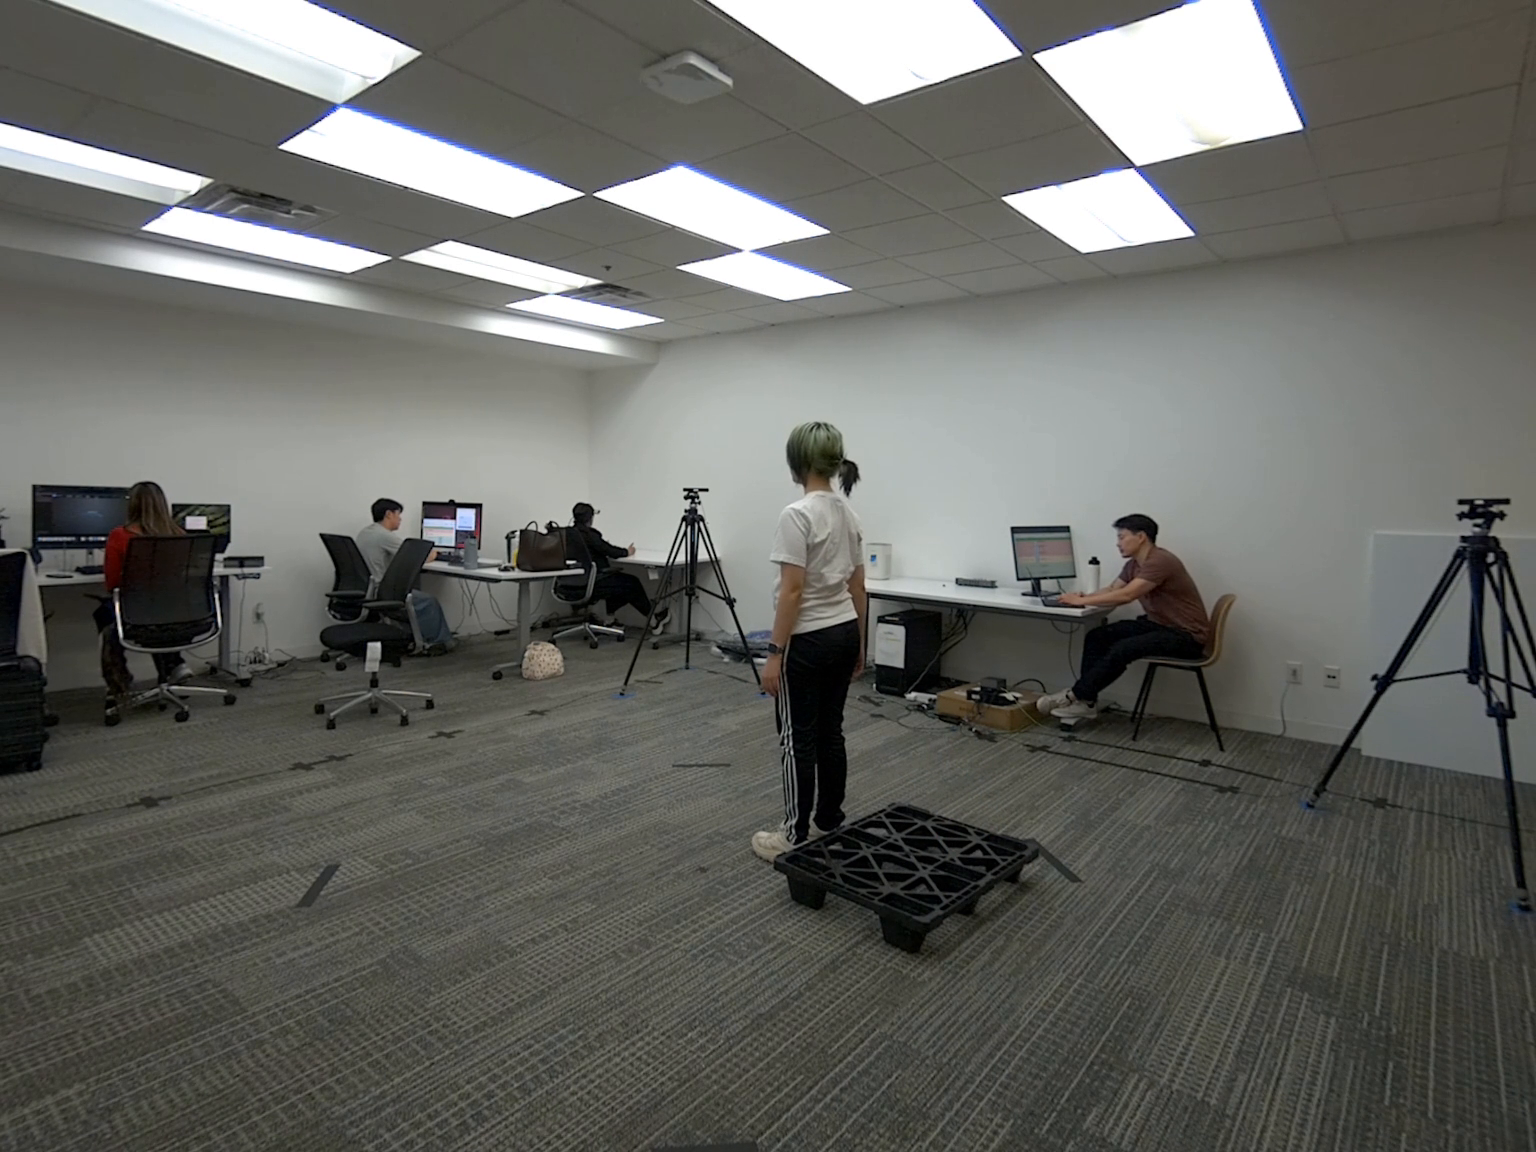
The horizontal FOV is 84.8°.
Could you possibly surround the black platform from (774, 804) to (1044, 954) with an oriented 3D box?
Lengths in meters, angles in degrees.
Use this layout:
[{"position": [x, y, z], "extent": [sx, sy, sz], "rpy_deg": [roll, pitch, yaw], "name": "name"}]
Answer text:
[{"position": [0.482, 1.029, 2.986], "extent": [0.626, 0.143, 0.781], "rpy_deg": [6, 7, 42], "name": "black platform"}]
